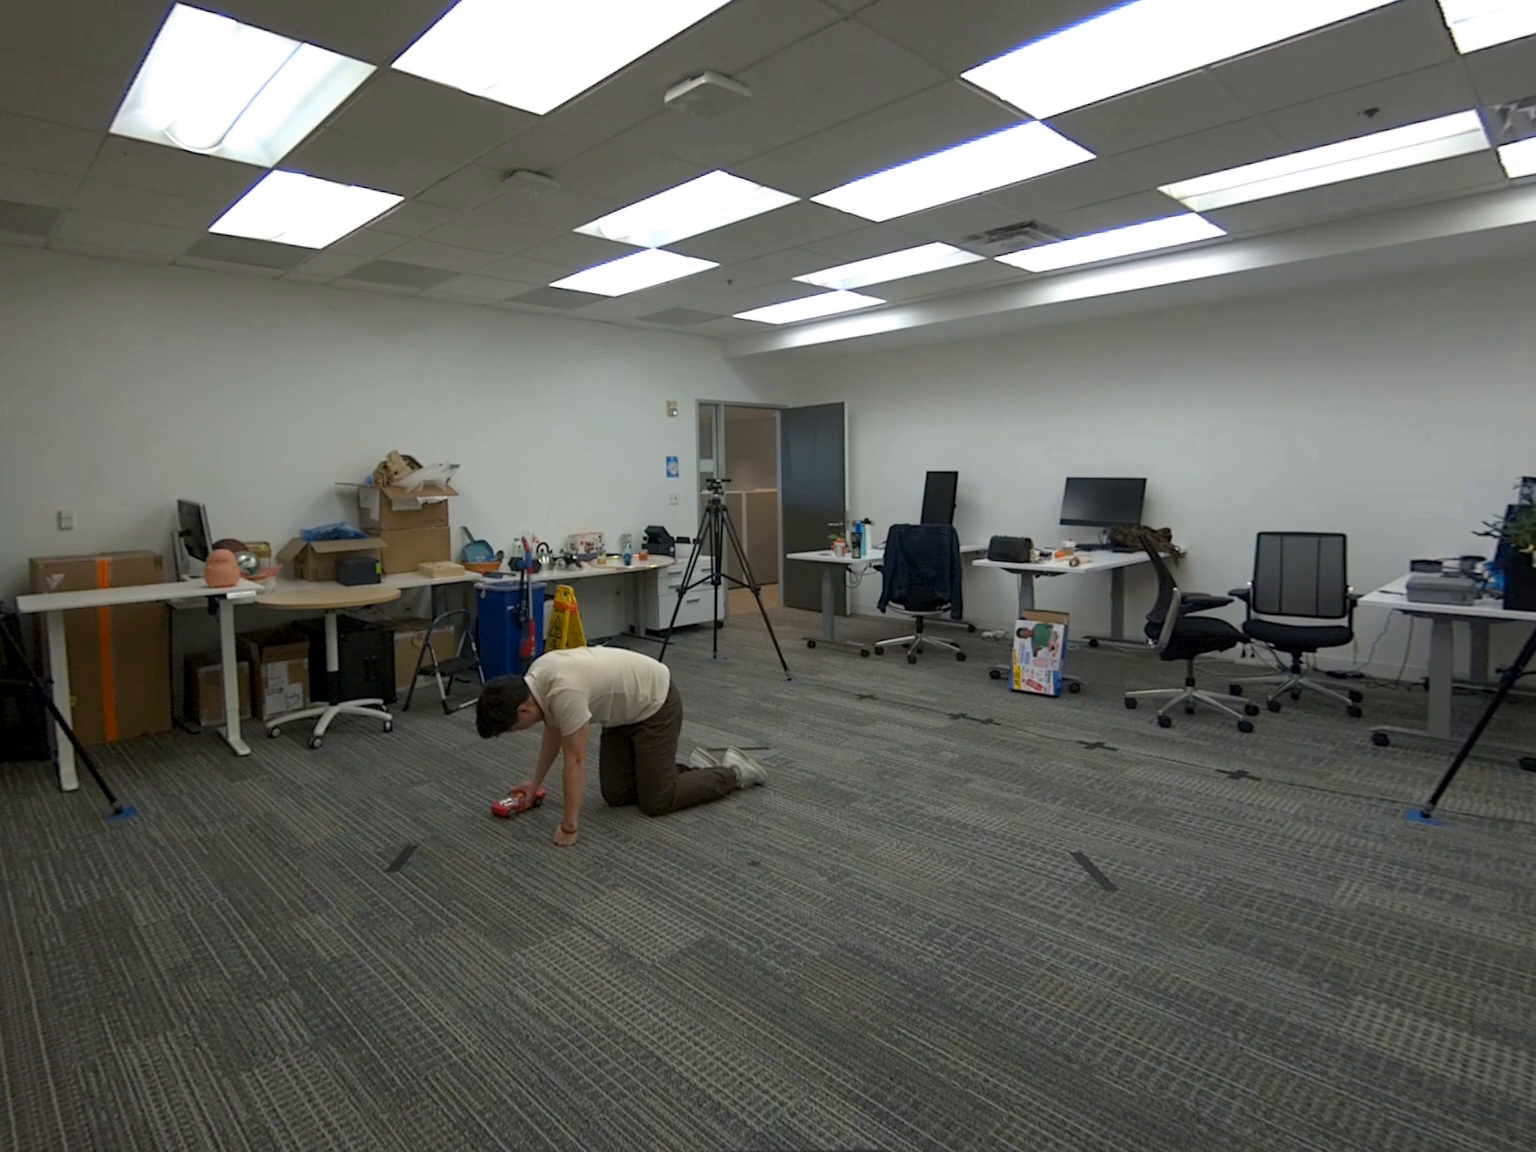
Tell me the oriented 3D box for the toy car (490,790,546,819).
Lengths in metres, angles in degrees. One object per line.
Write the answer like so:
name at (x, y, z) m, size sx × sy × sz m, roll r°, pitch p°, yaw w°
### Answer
toy car at (-1.065, 0.973, 3.672) m, size 0.134 × 0.082 × 0.251 m, roll 2°, pitch 16°, yaw 32°
